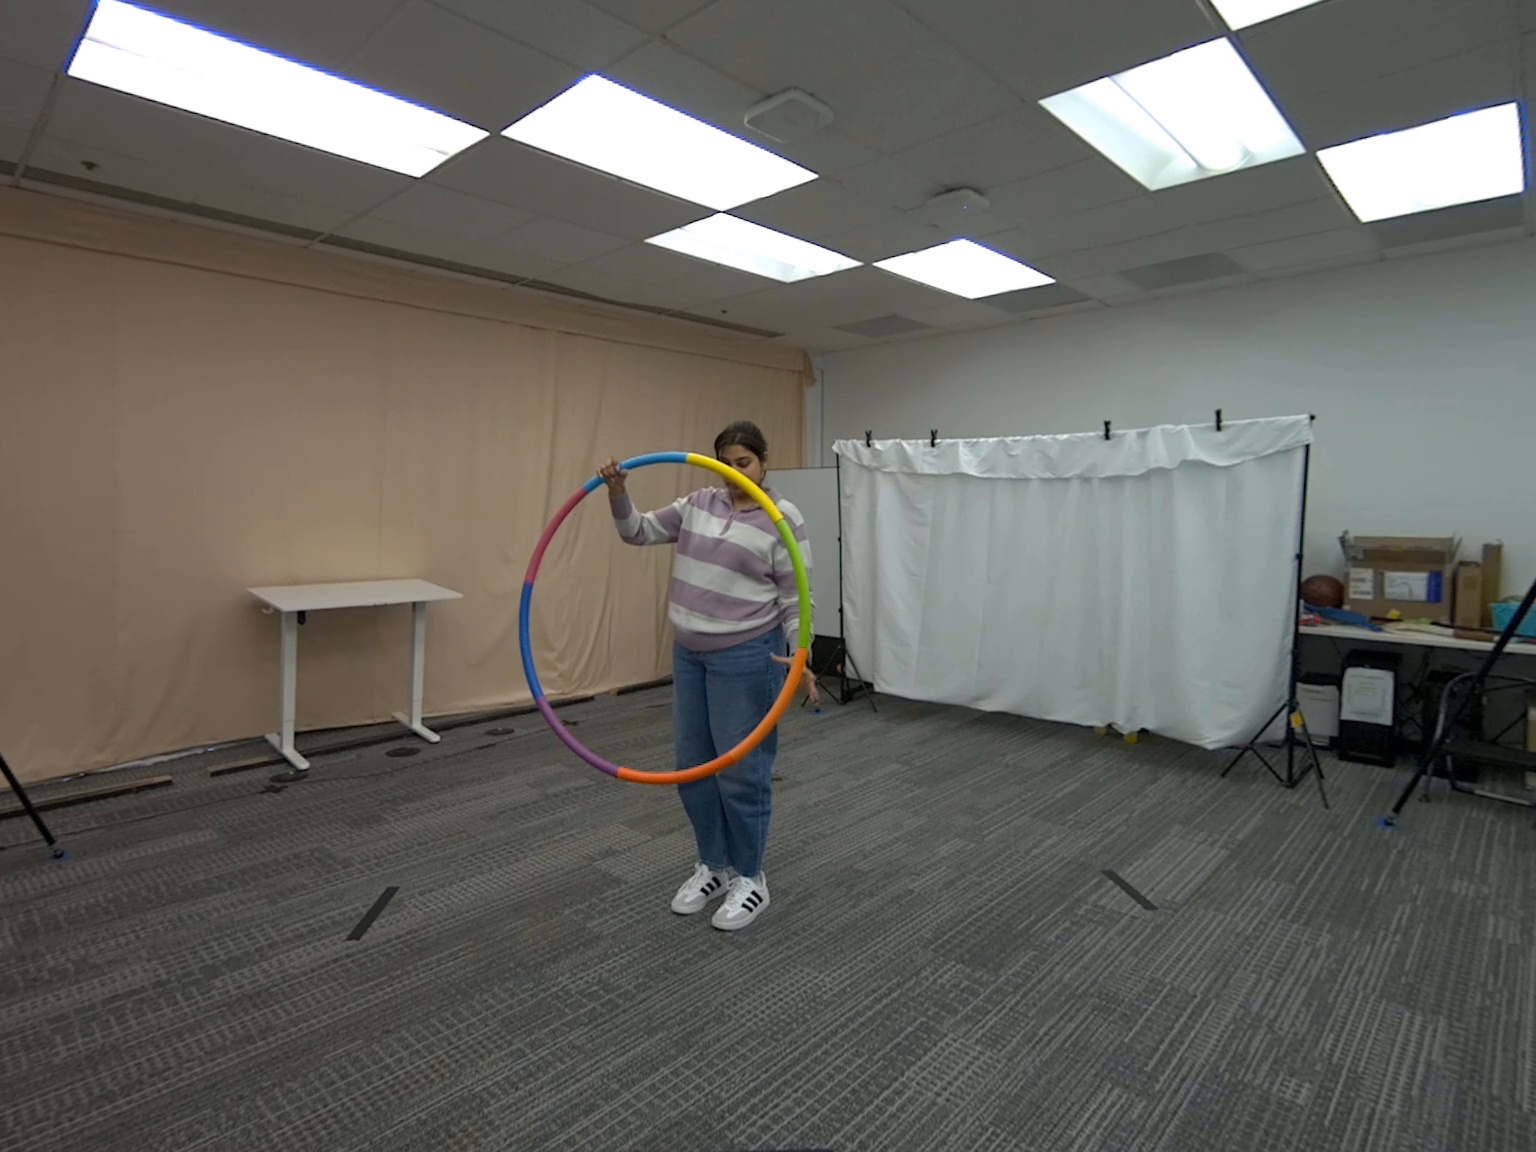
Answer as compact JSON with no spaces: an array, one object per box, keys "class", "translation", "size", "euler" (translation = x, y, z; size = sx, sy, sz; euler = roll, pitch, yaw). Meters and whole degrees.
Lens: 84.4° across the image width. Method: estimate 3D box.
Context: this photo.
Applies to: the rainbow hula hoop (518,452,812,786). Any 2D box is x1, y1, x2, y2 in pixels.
[{"class":"rainbow hula hoop","translation":[-0.330,0.104,2.543],"size":[1.001,0.982,0.034],"euler":[1,-8,22]}]
